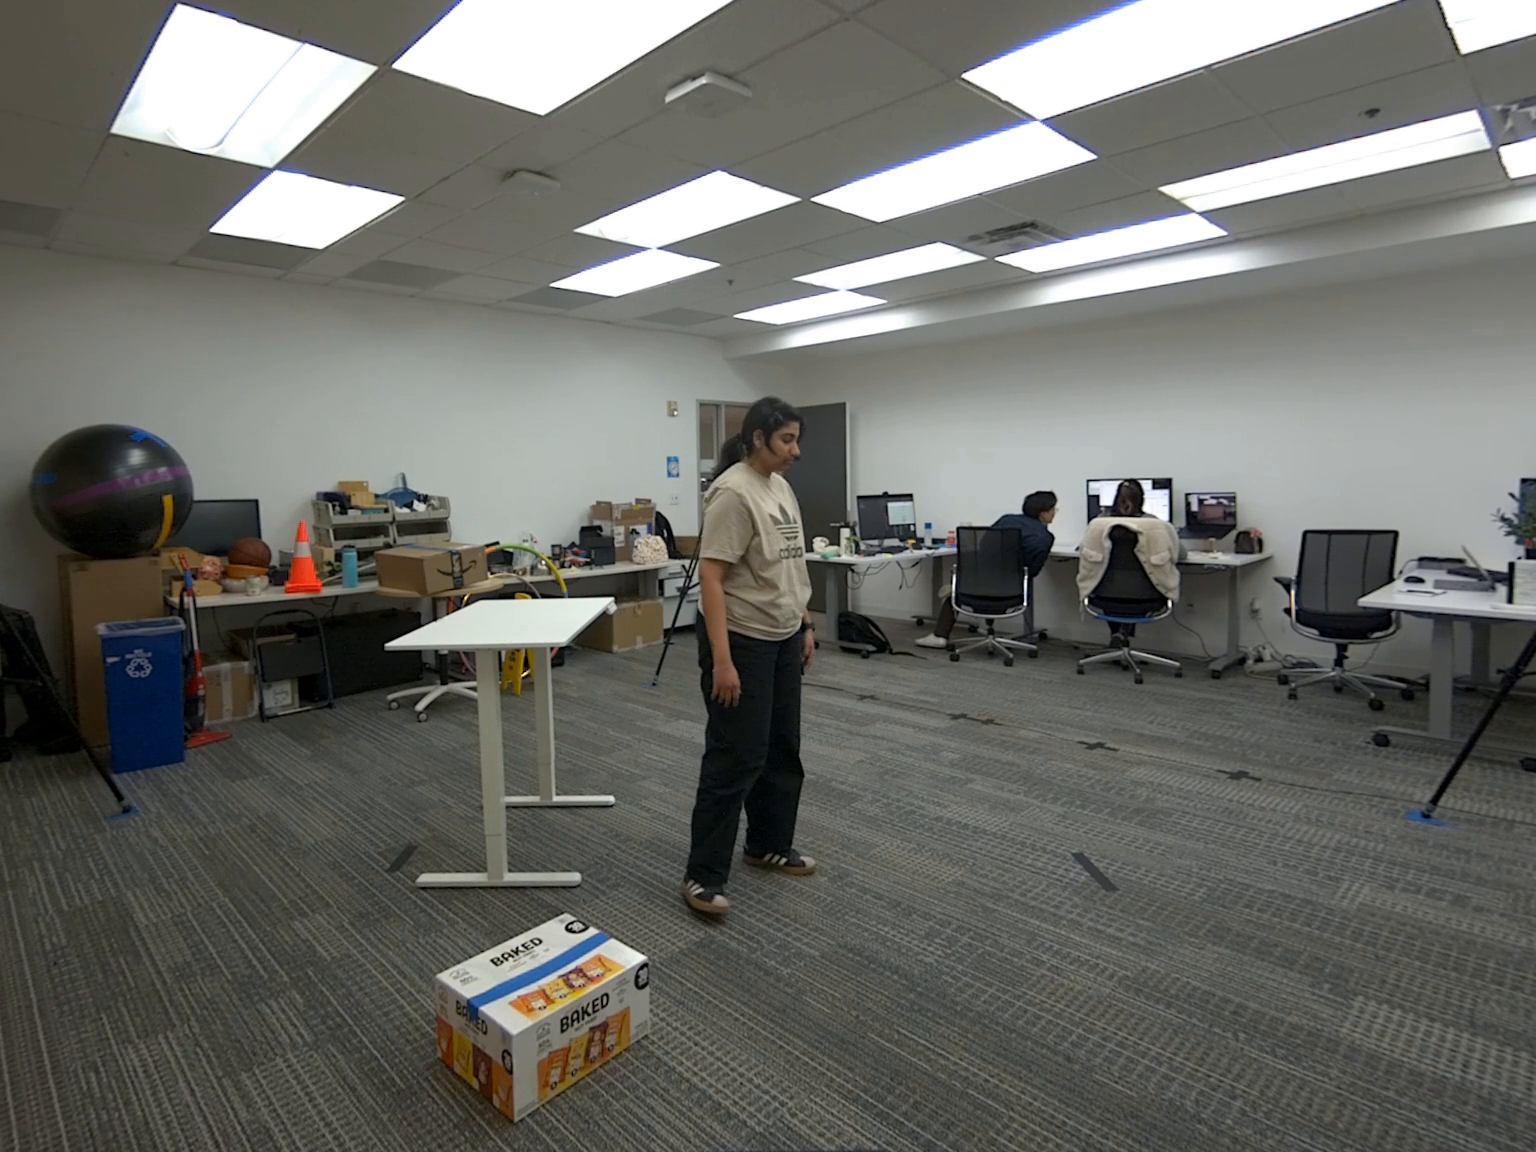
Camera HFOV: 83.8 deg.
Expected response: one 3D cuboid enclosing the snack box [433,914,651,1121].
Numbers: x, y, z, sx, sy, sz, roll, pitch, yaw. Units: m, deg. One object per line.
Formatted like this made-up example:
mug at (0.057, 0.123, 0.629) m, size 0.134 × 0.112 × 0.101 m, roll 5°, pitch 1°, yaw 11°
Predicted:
snack box at (-0.550, 1.072, 2.122) m, size 0.351 × 0.205 × 0.395 m, roll 4°, pitch 8°, yaw 41°
